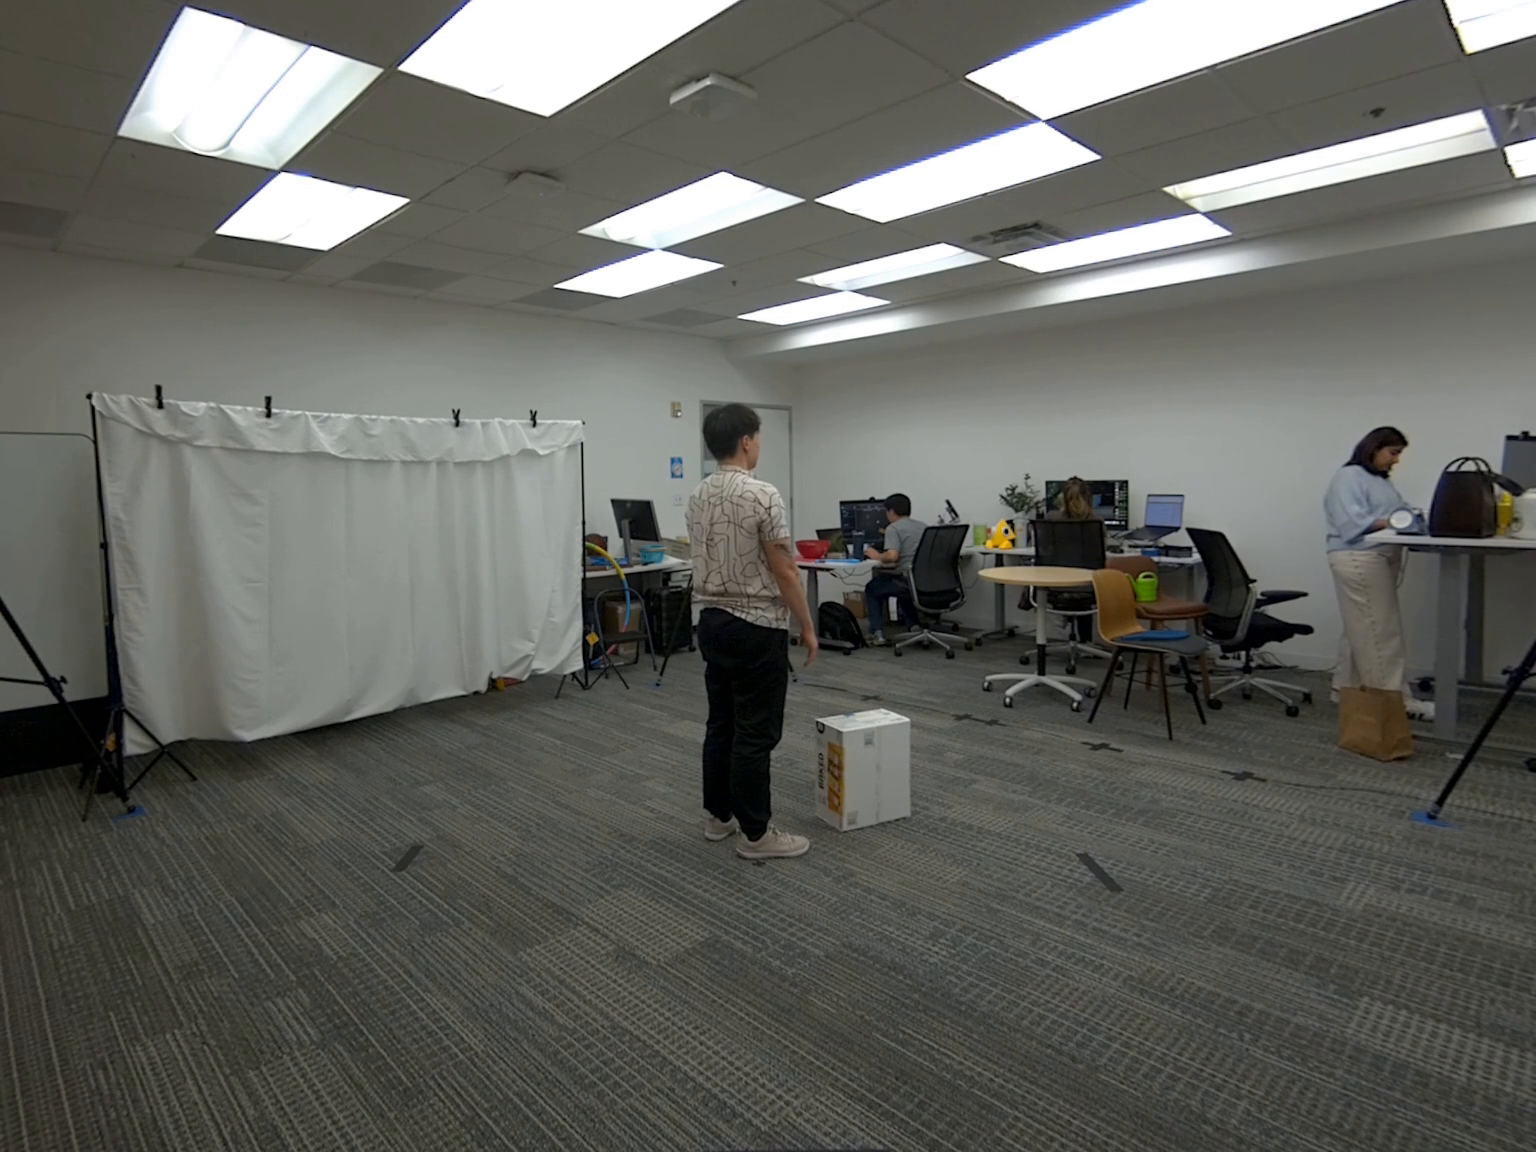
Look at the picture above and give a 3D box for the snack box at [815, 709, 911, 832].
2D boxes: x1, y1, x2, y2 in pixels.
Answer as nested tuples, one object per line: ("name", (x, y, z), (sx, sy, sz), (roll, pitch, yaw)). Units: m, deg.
("snack box", (0.392, 0.790, 3.524), (0.333, 0.404, 0.211), (-3, 4, -27))
